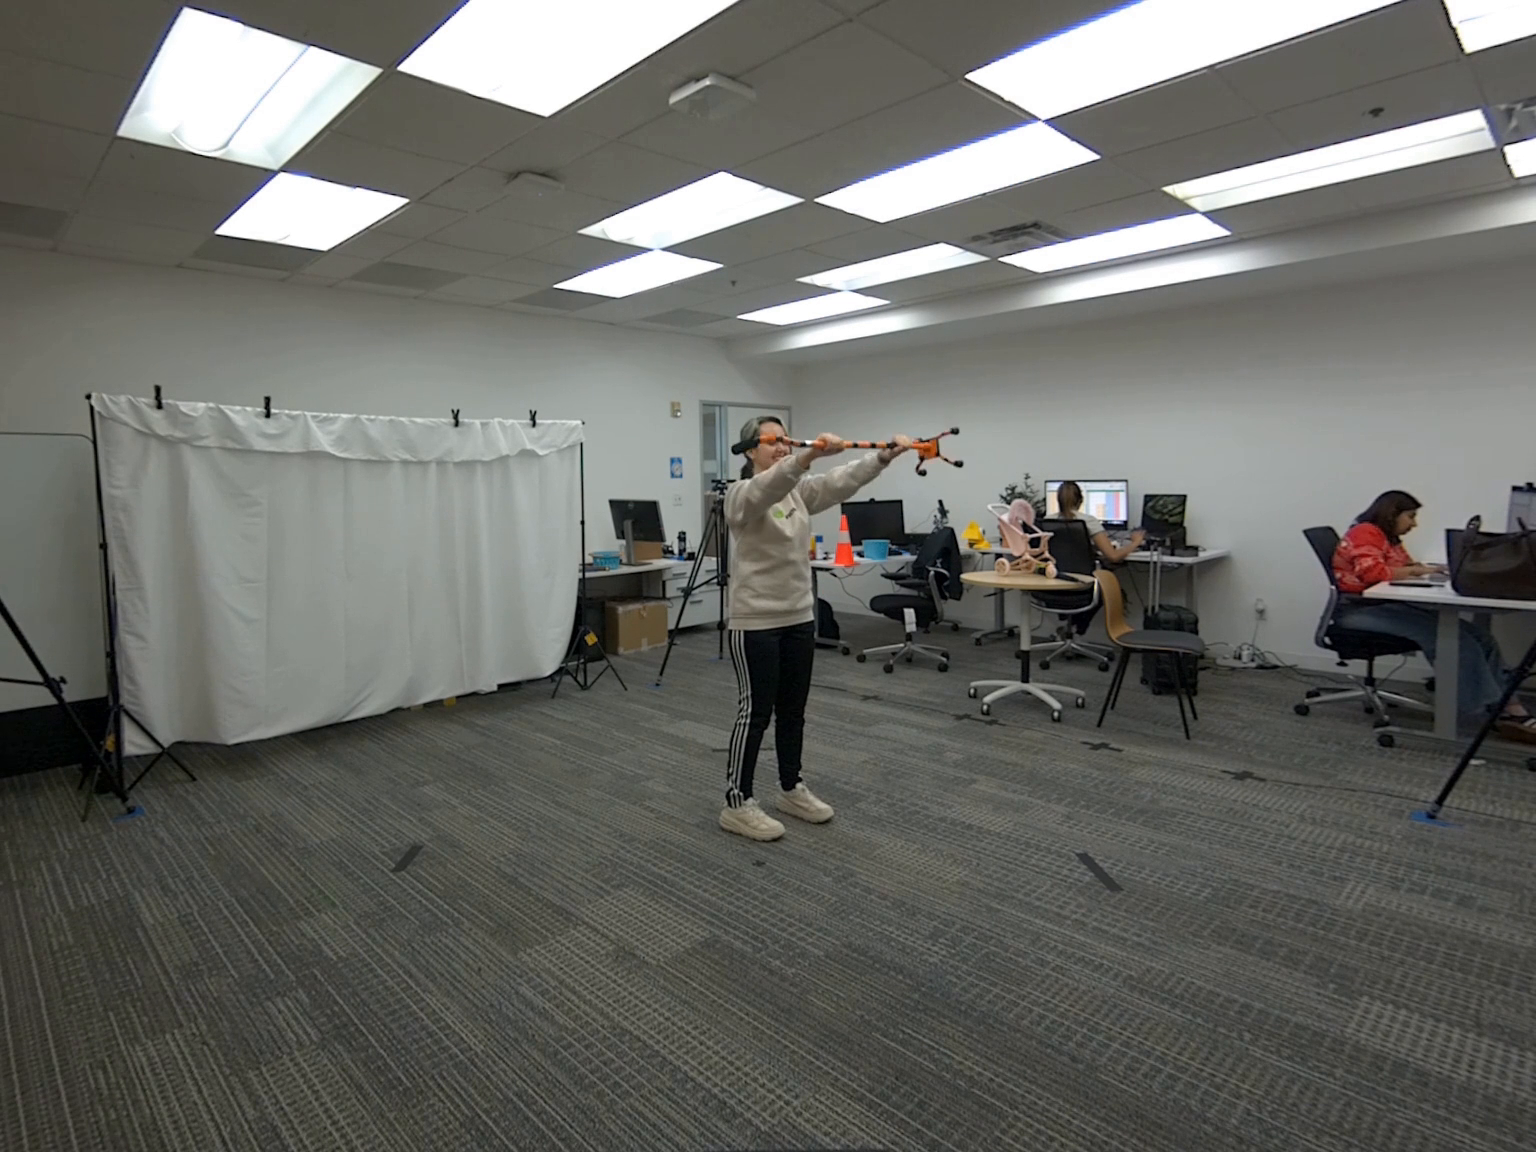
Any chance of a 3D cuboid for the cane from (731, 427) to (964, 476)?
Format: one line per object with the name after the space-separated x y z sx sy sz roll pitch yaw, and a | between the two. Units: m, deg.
0.291 -0.441 2.969 0.885 0.152 0.211 -5 -4 -37 | cane
